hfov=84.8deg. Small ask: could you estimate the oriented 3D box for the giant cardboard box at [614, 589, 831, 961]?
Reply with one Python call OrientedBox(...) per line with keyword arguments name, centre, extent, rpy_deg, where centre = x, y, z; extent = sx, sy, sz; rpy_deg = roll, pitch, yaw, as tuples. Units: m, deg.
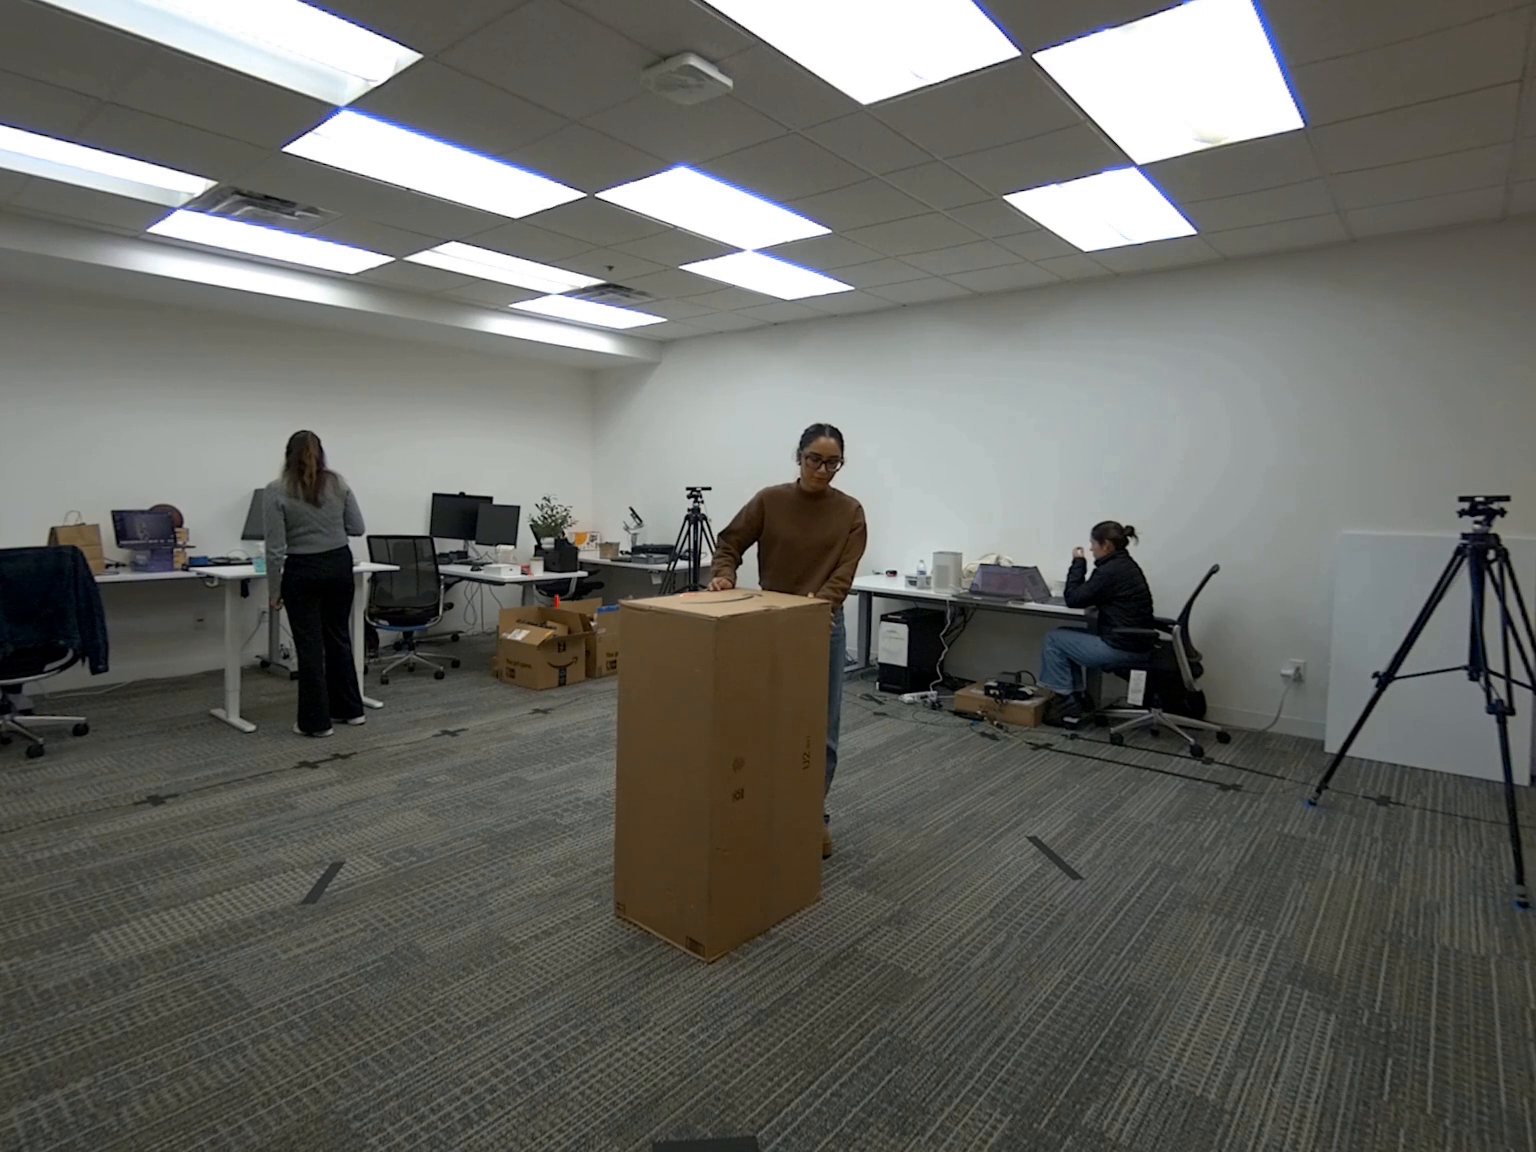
OrientedBox(name="giant cardboard box", centre=(-0.156, 0.588, 2.795), extent=(0.441, 1.022, 0.560), rpy_deg=(5, 5, 41))
